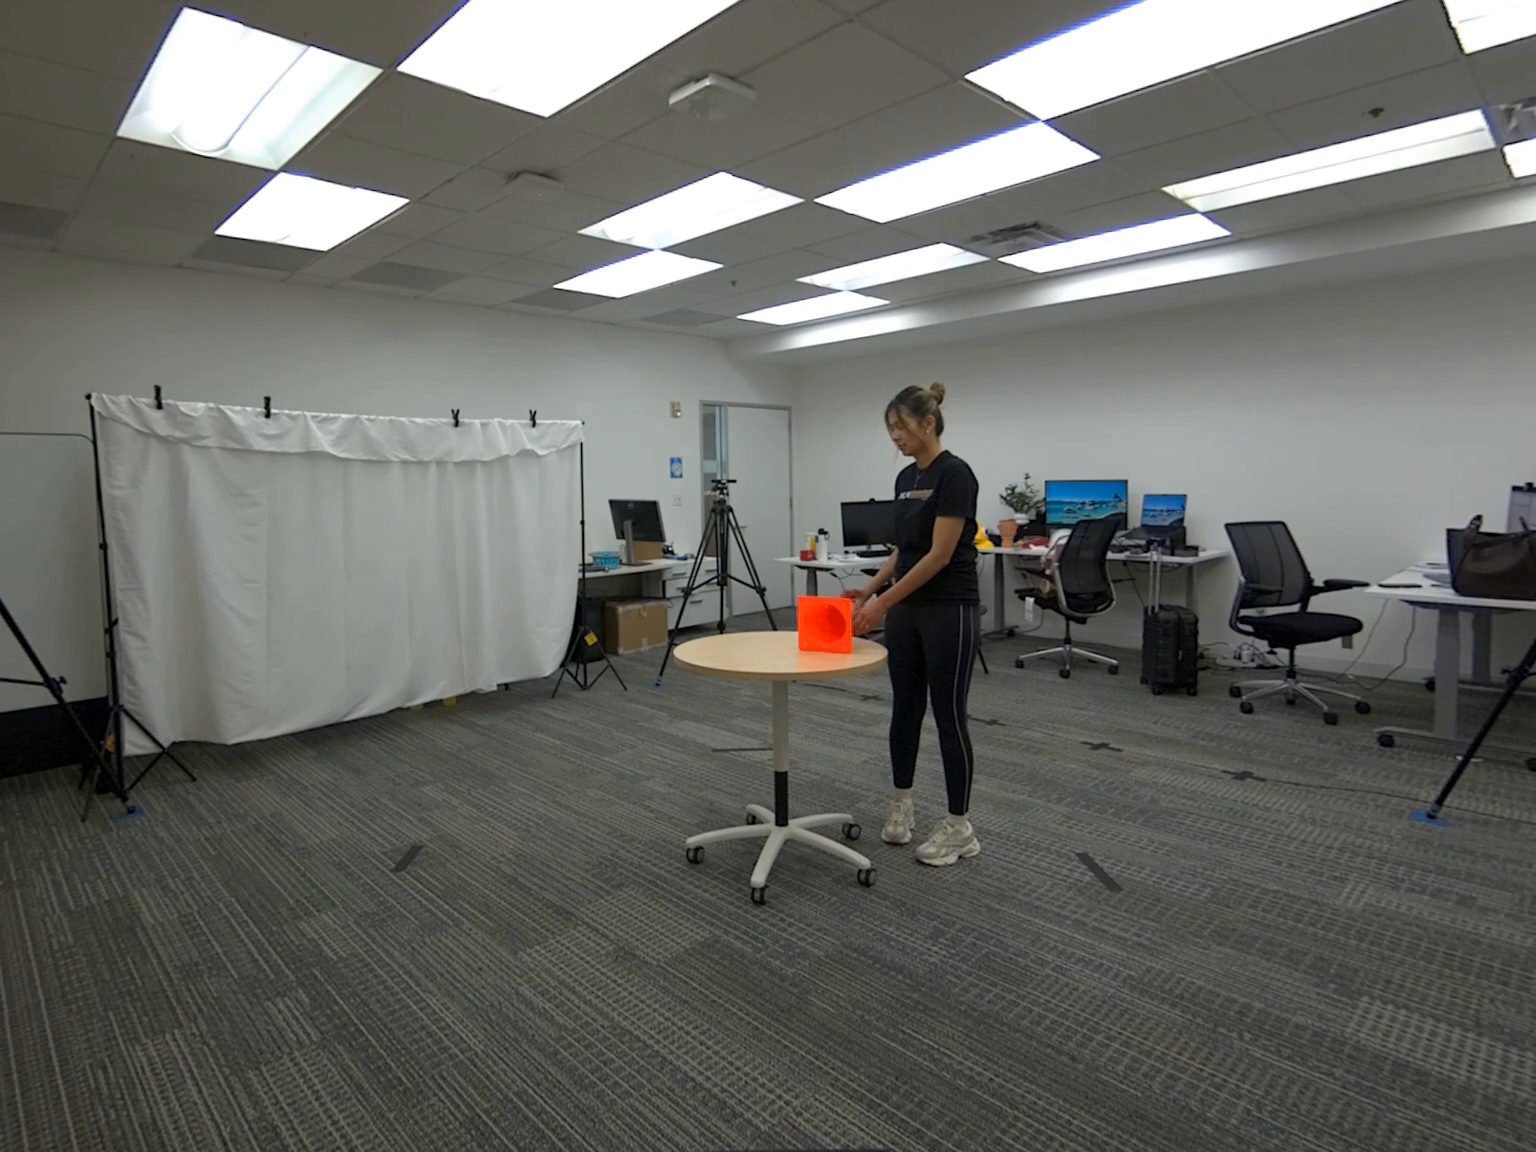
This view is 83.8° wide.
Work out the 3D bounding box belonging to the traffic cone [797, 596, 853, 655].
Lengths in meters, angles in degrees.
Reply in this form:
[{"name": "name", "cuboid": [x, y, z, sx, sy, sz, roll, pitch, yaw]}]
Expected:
[{"name": "traffic cone", "cuboid": [0.273, 0.149, 3.164, 0.209, 0.202, 0.377, 2, 7, 22]}]
